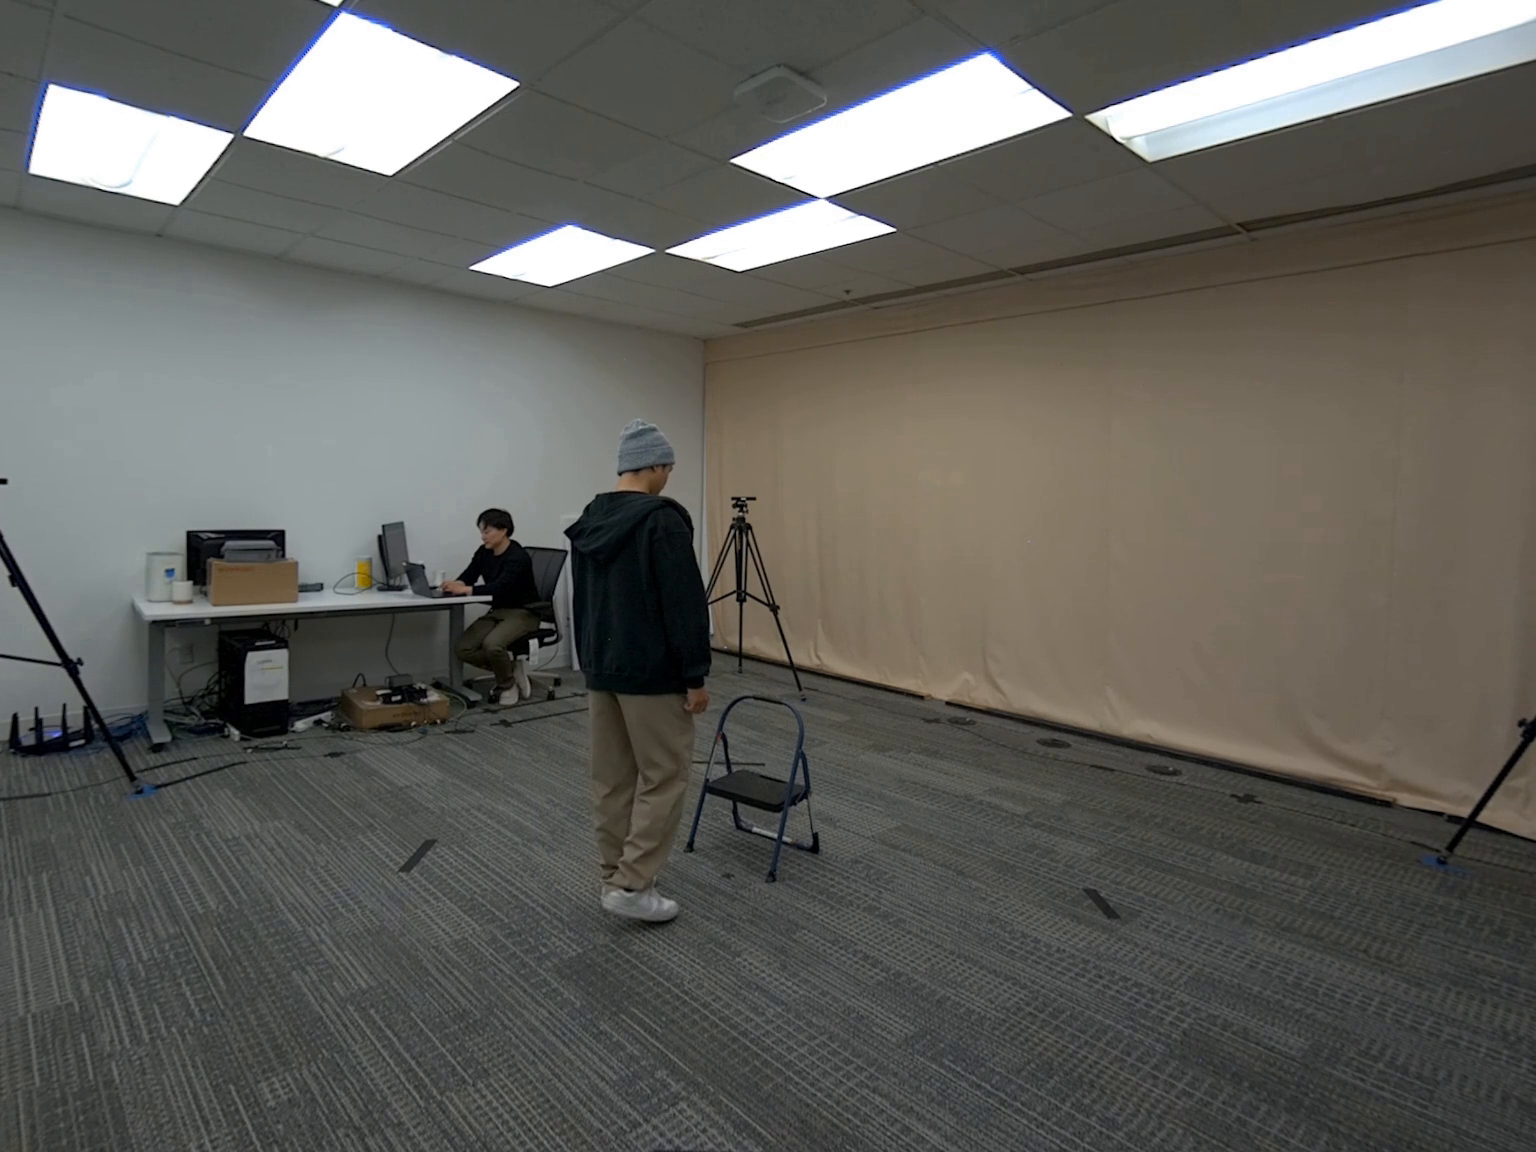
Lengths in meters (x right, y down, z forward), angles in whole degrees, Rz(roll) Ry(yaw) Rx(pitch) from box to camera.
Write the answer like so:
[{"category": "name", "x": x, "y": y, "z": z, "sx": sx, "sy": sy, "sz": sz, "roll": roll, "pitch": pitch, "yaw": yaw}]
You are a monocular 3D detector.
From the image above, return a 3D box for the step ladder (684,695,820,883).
[{"category": "step ladder", "x": -0.056, "y": 0.788, "z": 3.305, "sx": 0.441, "sy": 0.604, "sz": 0.342, "roll": 4, "pitch": 4, "yaw": 37}]
